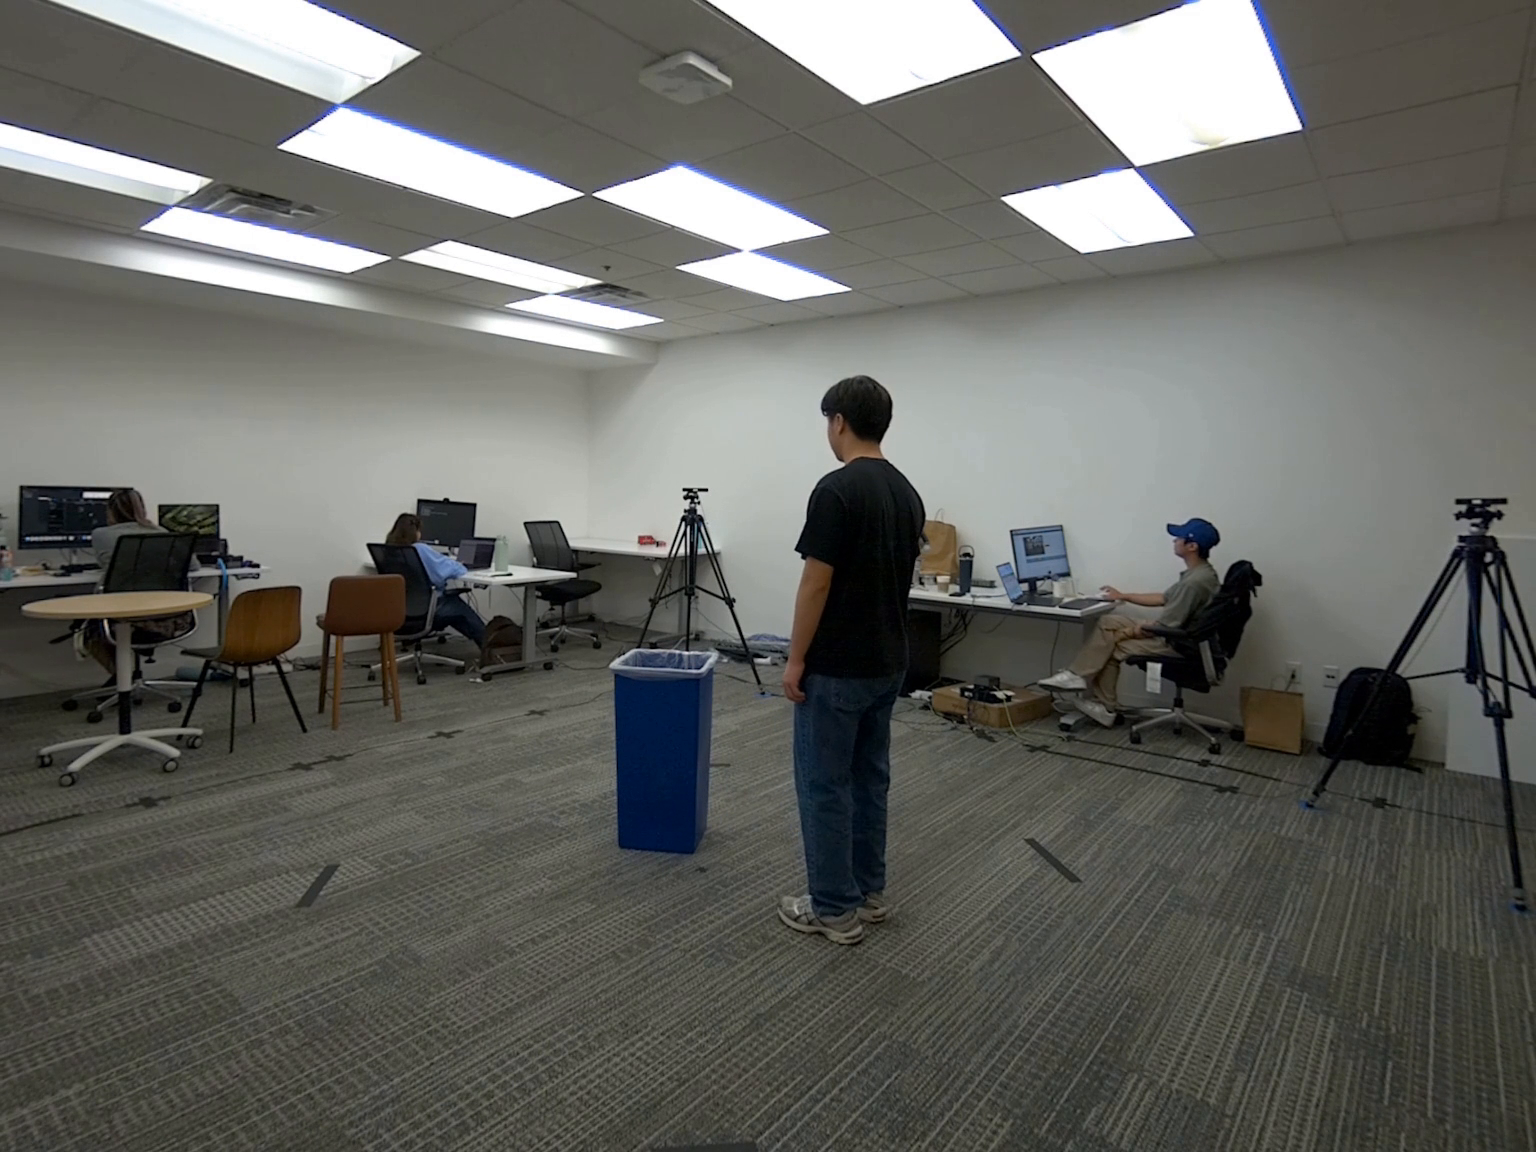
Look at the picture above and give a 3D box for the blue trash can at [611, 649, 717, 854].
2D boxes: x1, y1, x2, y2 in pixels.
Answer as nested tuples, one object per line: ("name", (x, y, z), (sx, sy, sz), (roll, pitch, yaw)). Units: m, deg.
("blue trash can", (-0.424, 0.679, 3.391), (0.382, 0.710, 0.372), (1, 5, 8))
